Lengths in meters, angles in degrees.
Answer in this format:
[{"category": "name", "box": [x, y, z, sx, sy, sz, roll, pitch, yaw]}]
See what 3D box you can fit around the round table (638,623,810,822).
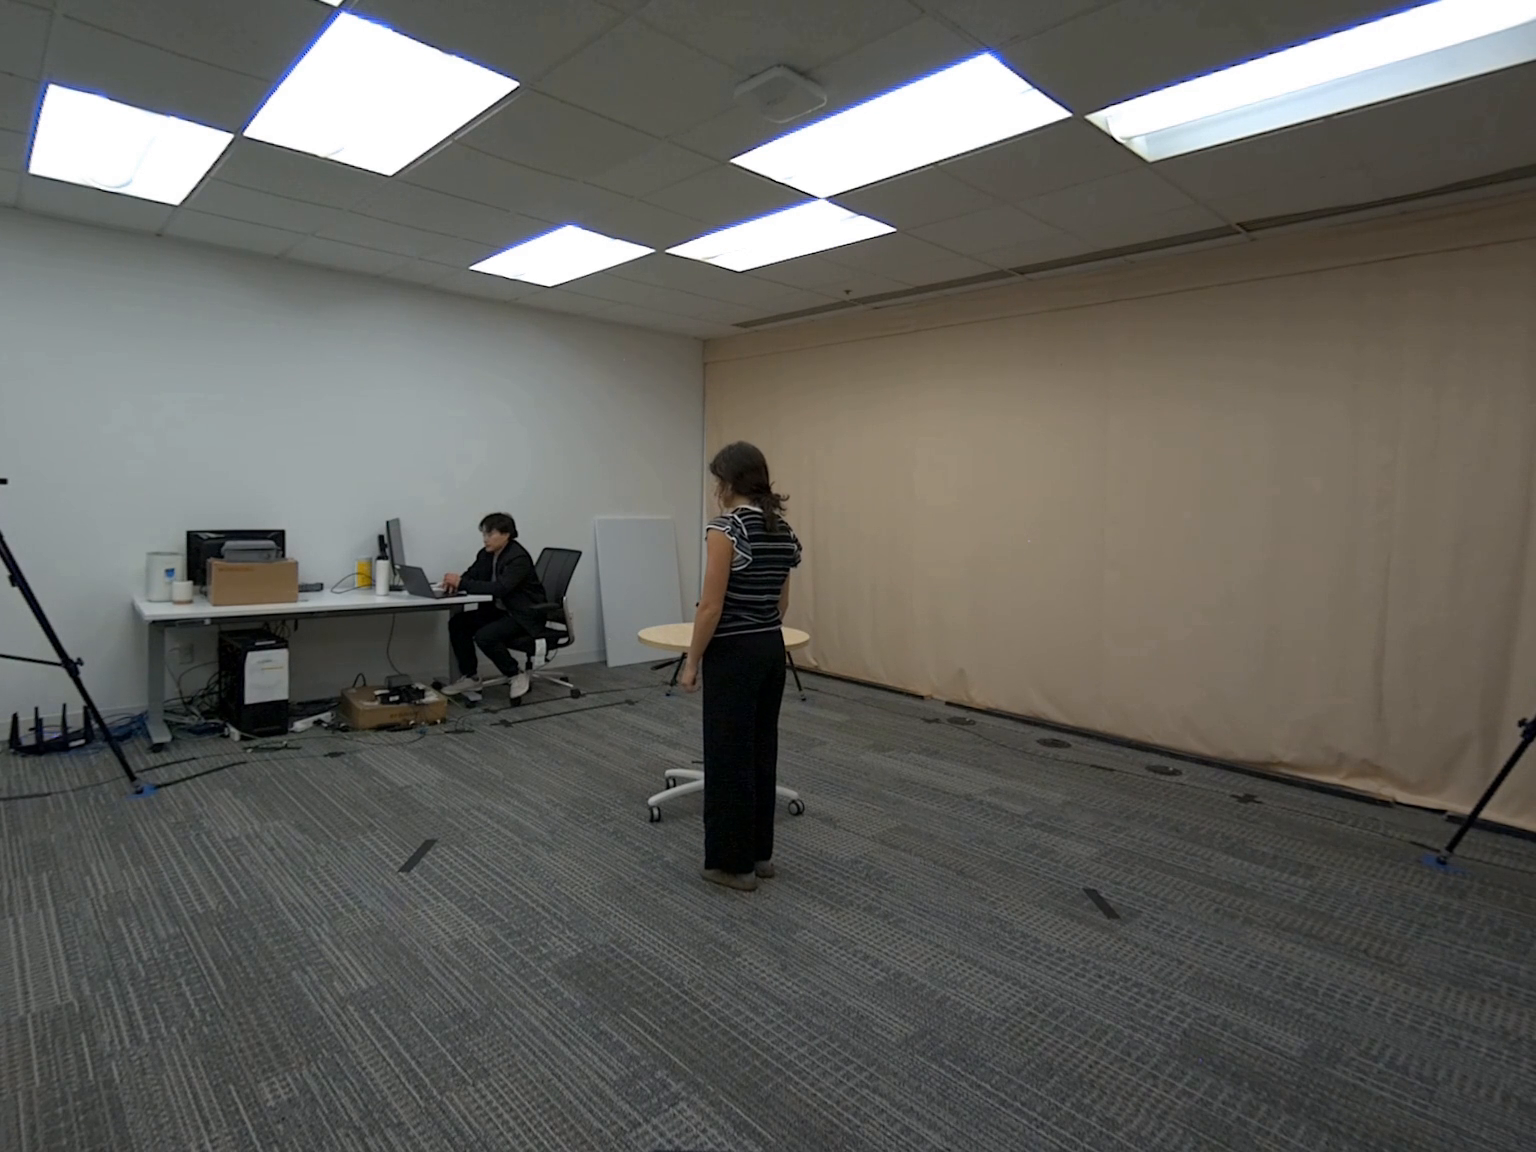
[{"category": "round table", "box": [-0.212, 0.658, 3.782, 0.763, 0.792, 0.766, 1, 3, -1]}]
